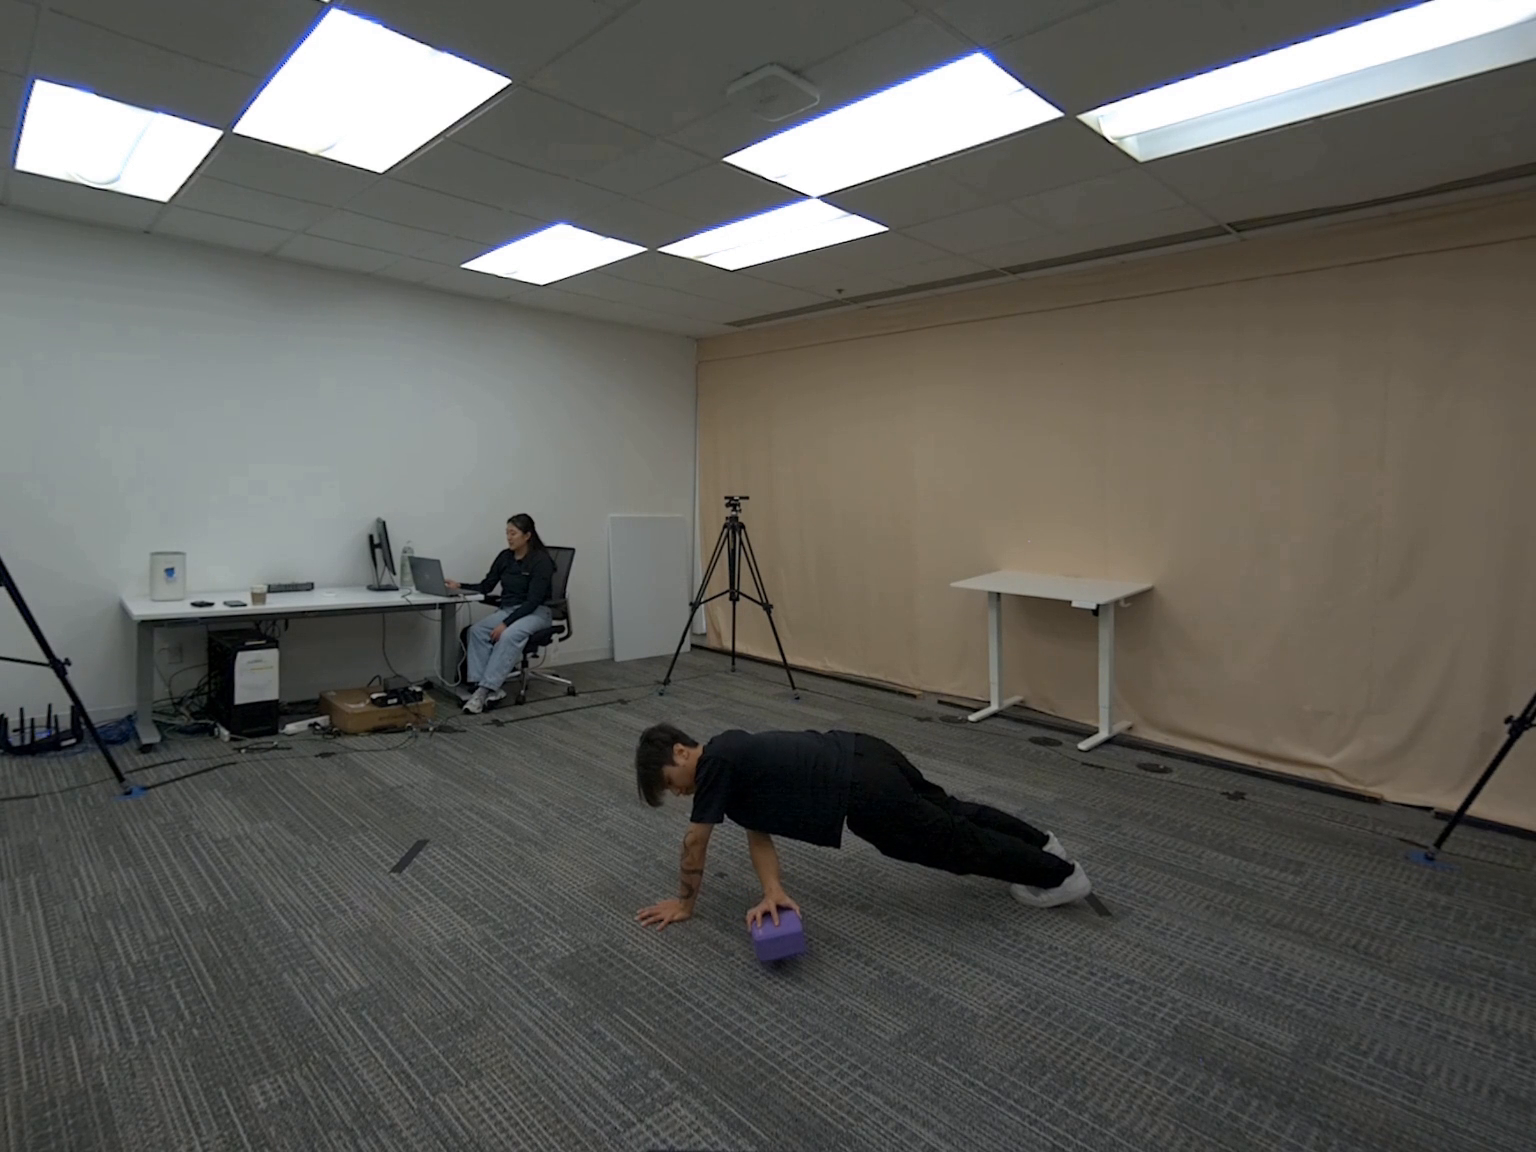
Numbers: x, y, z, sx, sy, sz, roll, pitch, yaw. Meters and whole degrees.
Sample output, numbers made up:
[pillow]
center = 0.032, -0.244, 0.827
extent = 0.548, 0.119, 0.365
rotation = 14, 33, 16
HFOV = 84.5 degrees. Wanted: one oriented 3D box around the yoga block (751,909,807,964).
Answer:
[yoga block]
center = 0.016, 1.078, 2.539
extent = 0.149, 0.076, 0.230
rotation = -12, 1, -4
